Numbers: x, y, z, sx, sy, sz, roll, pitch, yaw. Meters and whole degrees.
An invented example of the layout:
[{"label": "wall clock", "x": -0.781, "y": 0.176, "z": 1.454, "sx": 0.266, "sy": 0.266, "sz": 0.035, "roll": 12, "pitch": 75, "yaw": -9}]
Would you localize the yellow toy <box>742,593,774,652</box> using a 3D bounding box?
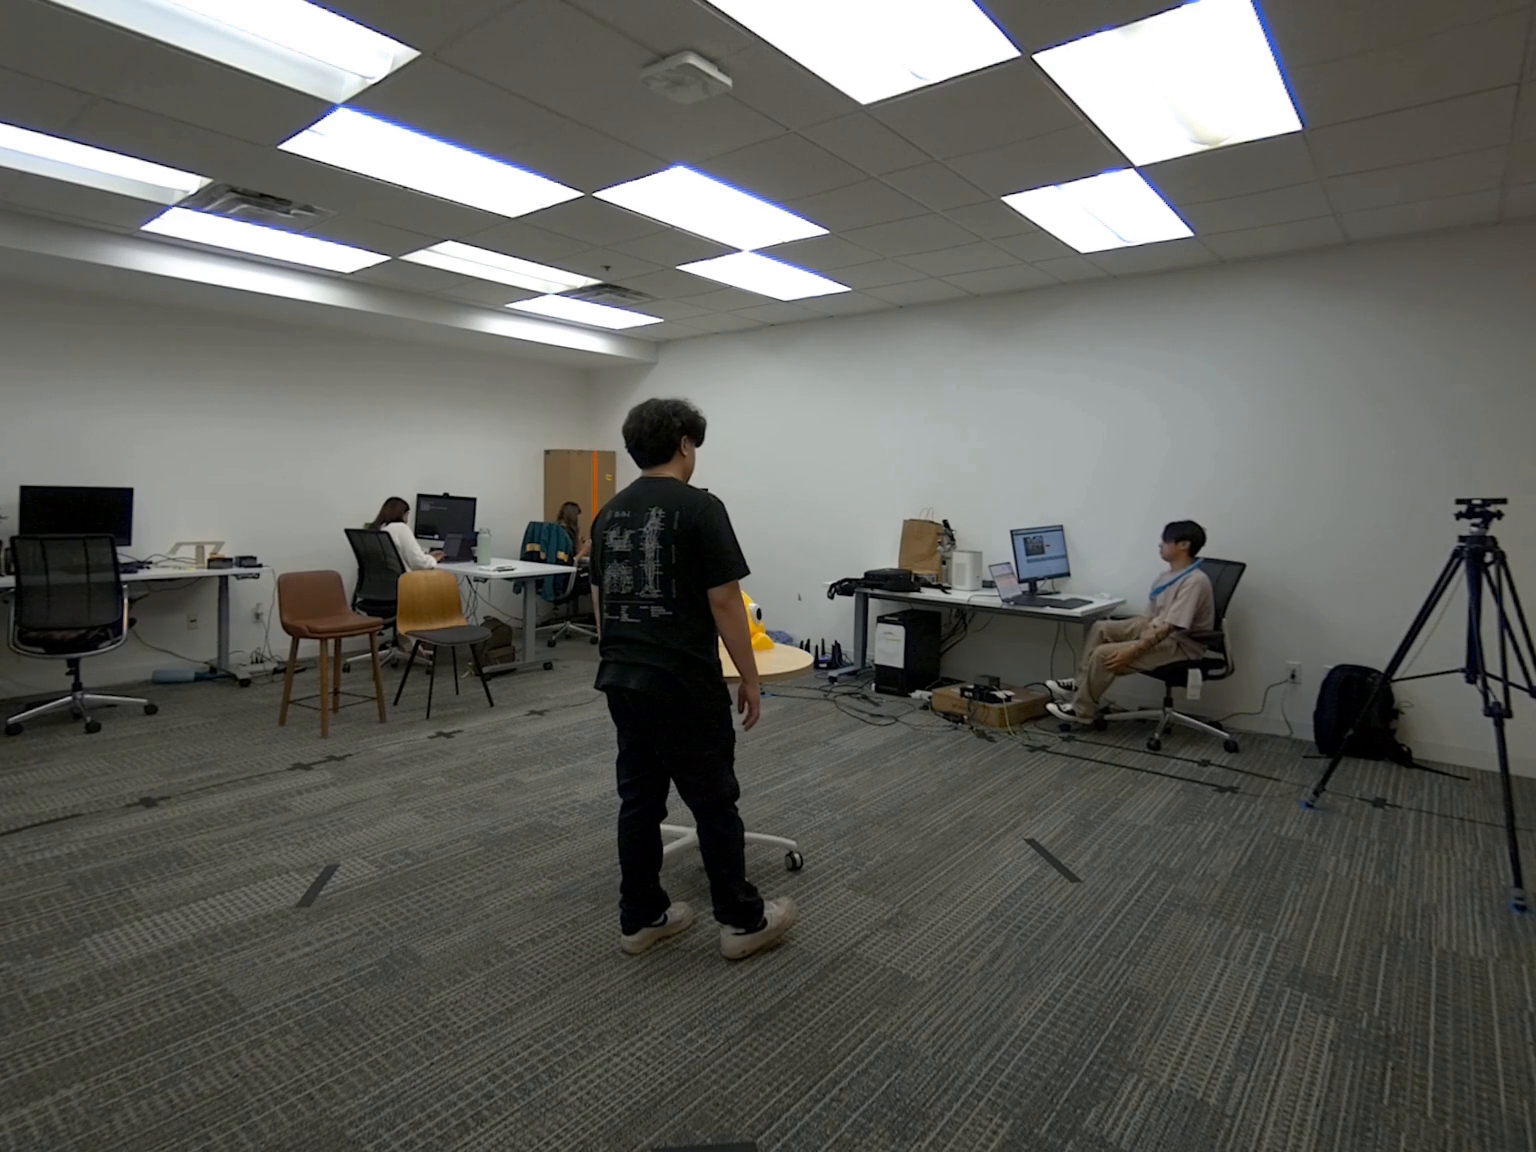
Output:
[{"label": "yellow toy", "x": -0.095, "y": 0.150, "z": 3.268, "sx": 0.187, "sy": 0.230, "sz": 0.211, "roll": -2, "pitch": 4, "yaw": -35}]
